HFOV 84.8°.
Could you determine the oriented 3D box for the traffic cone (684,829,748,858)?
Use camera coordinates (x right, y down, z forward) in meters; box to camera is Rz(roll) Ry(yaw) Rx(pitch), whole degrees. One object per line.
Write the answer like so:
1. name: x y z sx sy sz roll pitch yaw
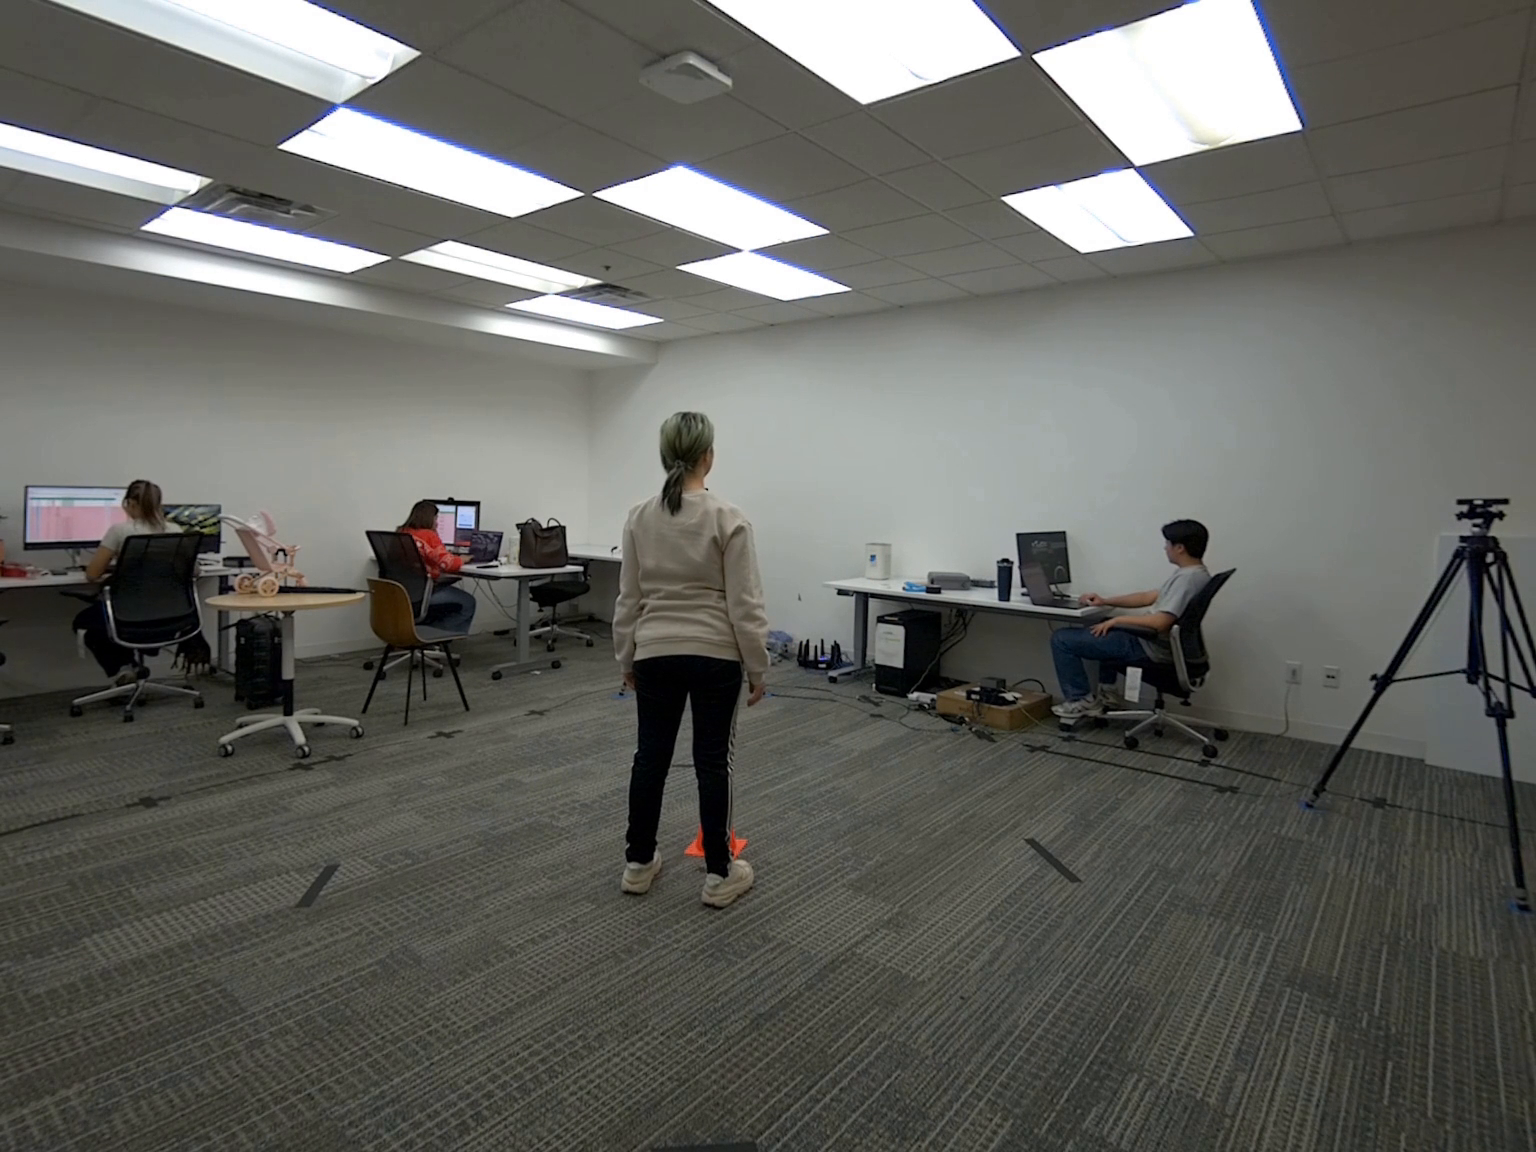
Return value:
1. traffic cone: -0.202 0.863 3.291 0.209 0.382 0.200 3 4 18
